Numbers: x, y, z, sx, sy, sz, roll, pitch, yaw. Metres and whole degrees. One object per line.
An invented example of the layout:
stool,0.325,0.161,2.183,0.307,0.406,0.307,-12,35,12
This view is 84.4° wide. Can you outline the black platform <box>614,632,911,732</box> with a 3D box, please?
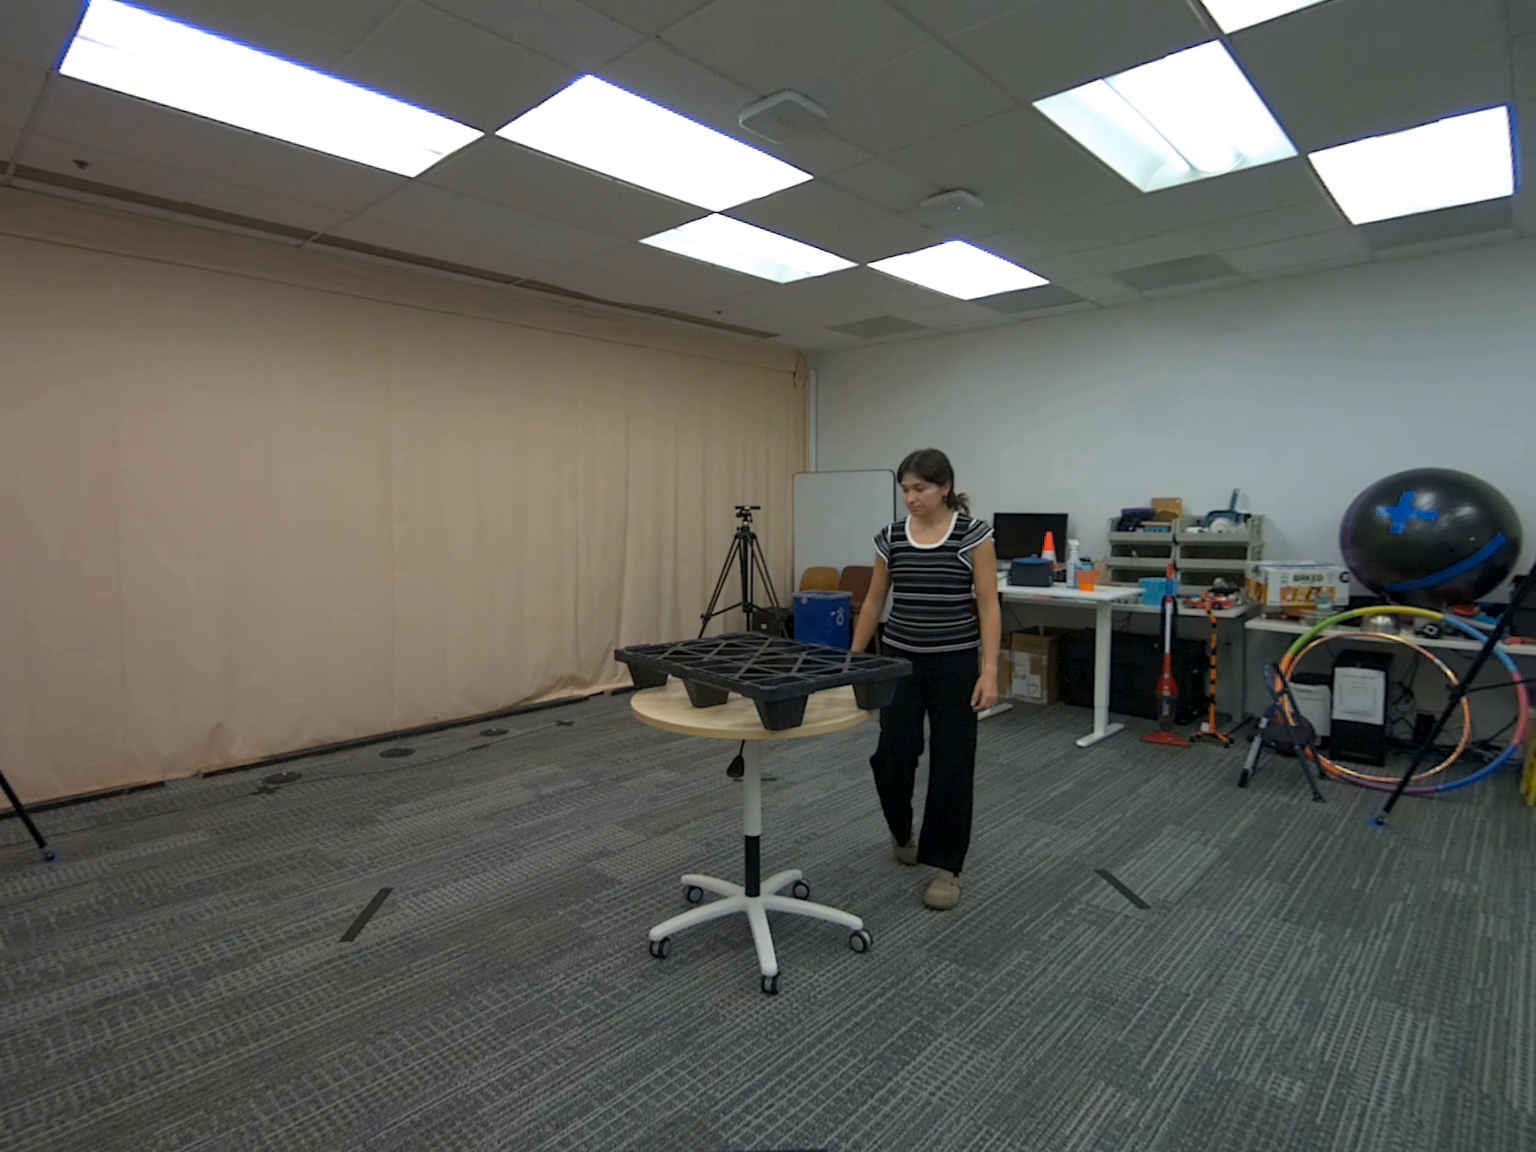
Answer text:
black platform,-0.031,0.324,2.694,0.587,0.143,0.832,-6,7,-38
